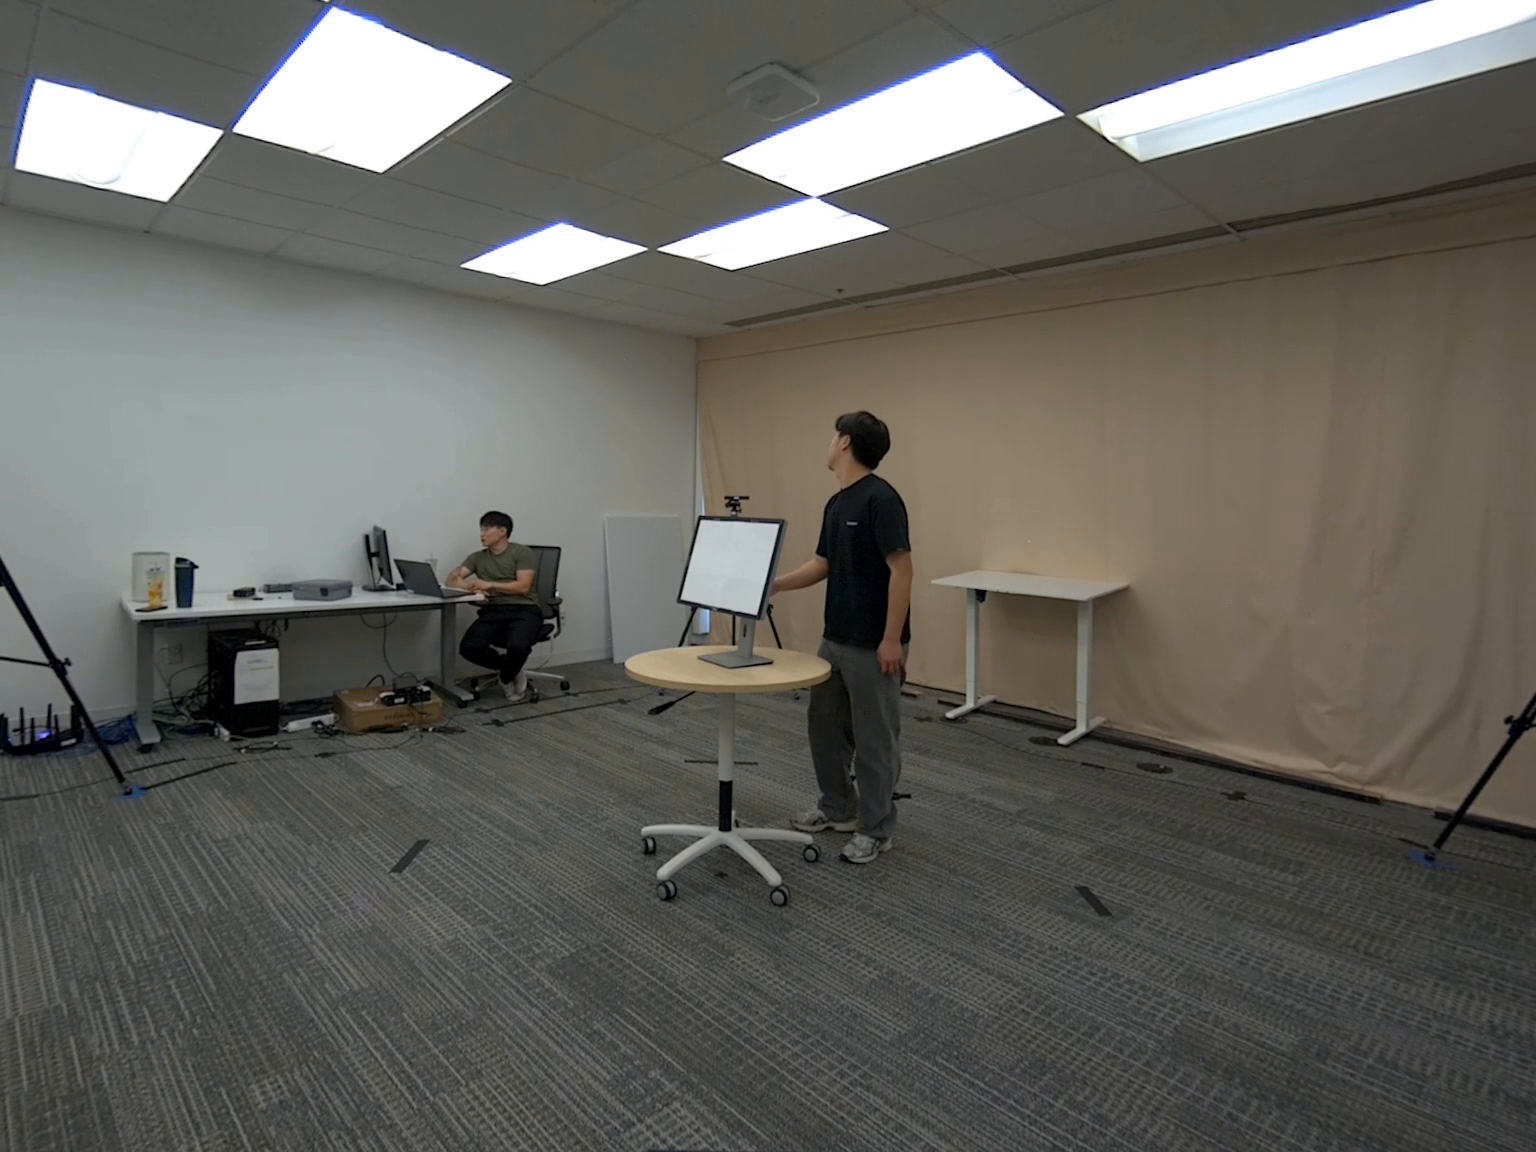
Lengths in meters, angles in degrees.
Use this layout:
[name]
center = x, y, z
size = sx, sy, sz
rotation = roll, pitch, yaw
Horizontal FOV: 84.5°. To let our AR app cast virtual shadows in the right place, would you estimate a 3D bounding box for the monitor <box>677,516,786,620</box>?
[monitor]
center = -0.130, 0.062, 3.164
size = 0.218, 0.564, 0.575
rotation = -2, 4, -32
